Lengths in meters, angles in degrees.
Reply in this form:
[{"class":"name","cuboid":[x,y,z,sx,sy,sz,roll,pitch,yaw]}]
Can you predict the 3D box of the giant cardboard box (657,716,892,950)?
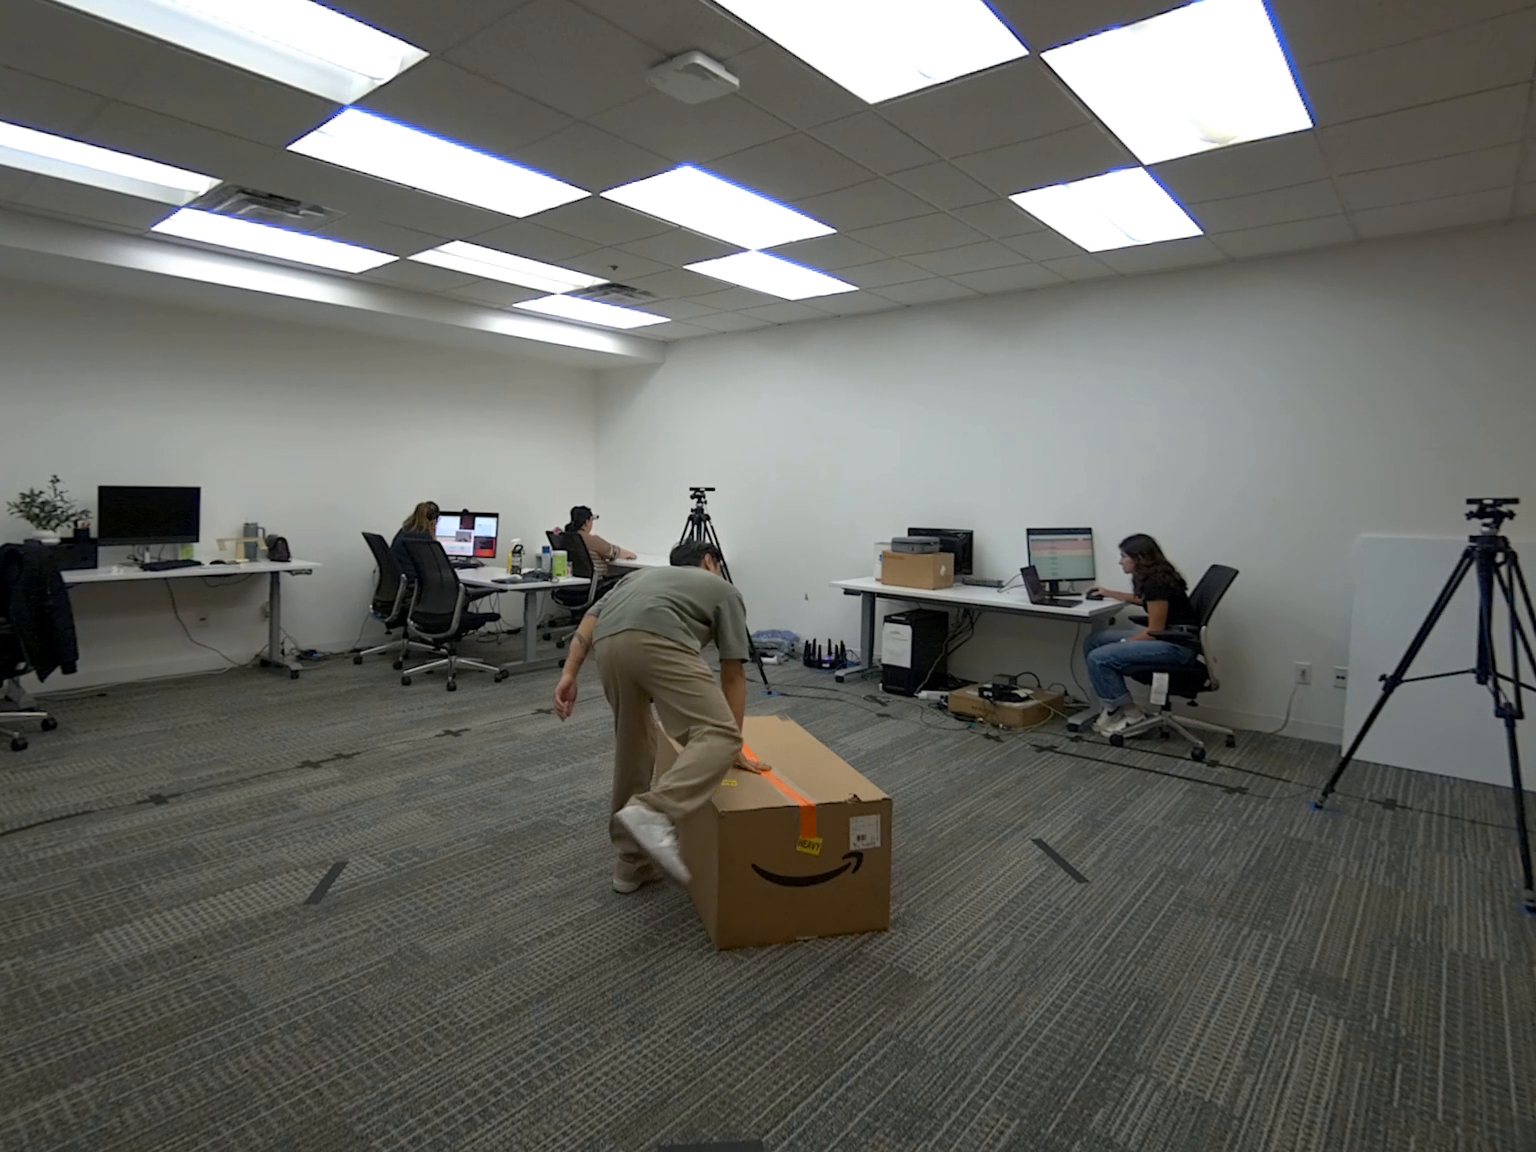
[{"class":"giant cardboard box","cuboid":[-0.041,0.858,3.103,0.568,0.424,1.047,-1,6,-17]}]
